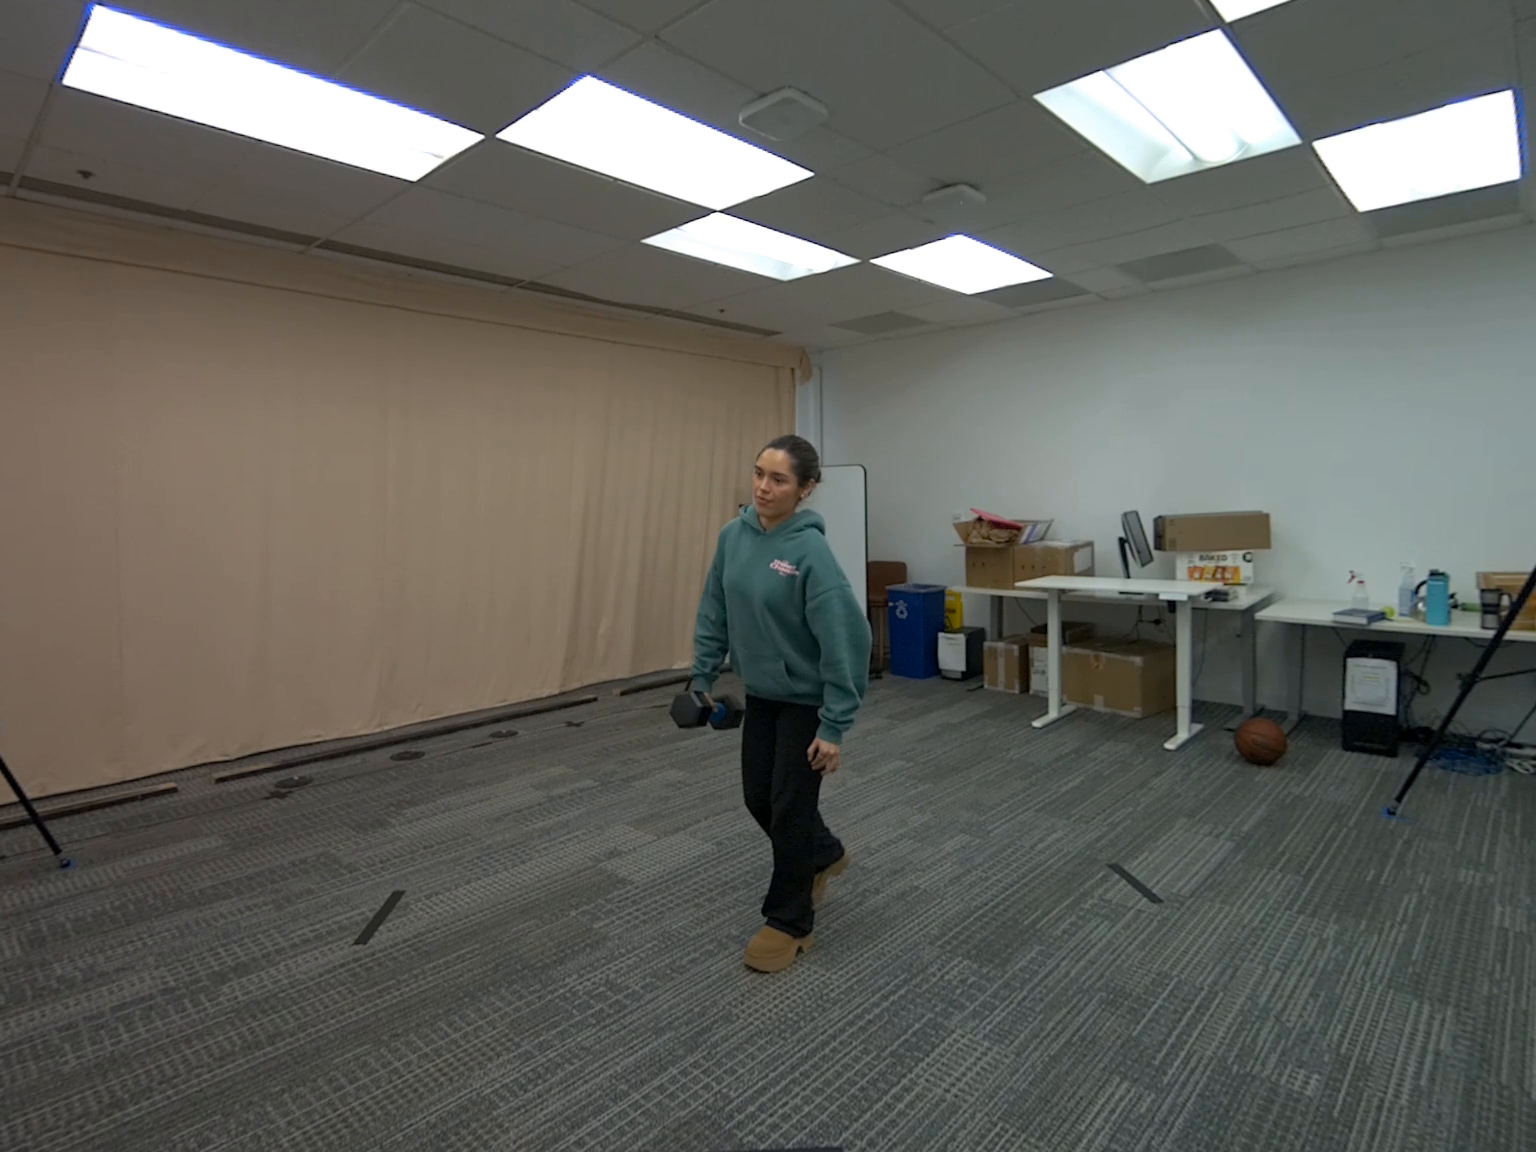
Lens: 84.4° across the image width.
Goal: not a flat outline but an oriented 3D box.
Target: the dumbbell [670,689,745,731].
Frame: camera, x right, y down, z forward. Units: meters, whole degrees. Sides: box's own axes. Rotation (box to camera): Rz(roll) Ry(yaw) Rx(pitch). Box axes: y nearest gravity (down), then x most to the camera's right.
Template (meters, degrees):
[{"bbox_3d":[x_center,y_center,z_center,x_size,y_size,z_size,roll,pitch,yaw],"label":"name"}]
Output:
[{"bbox_3d":[-0.183,0.440,2.667,0.126,0.109,0.284,52,16,28],"label":"dumbbell"}]
